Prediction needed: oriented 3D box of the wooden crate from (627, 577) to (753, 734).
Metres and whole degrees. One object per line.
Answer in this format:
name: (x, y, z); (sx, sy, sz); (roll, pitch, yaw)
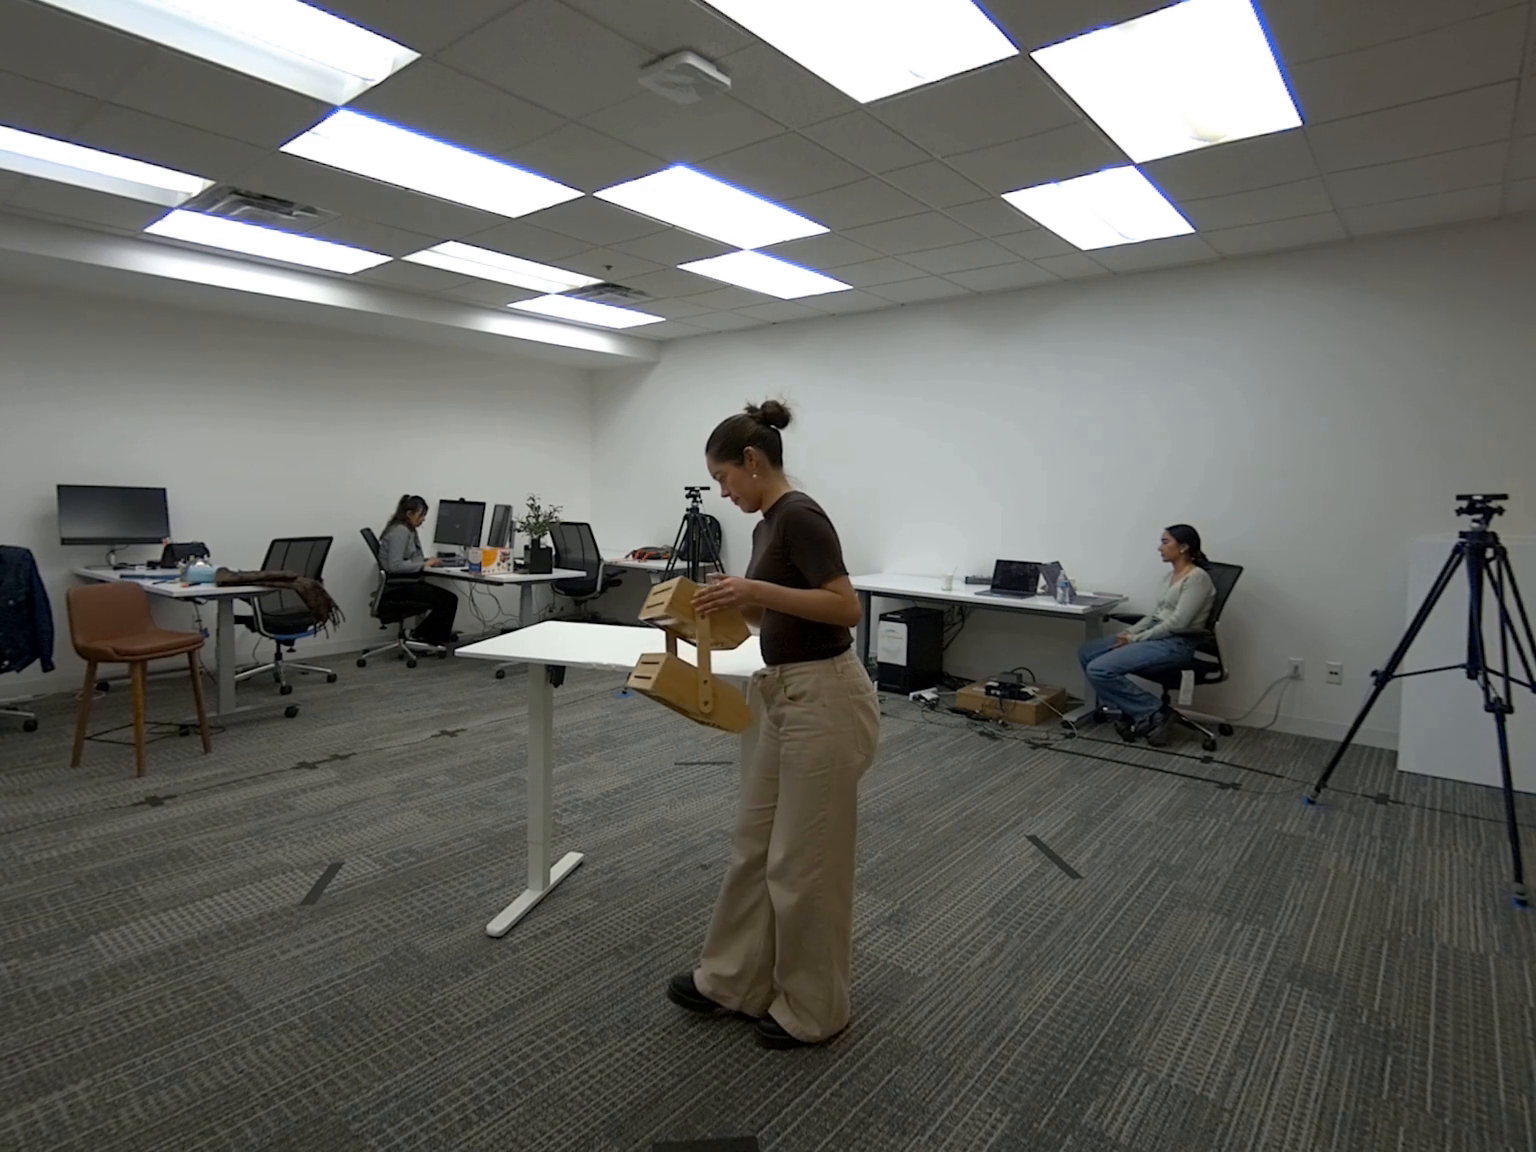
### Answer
wooden crate: (-0.175, 0.190, 2.080); (0.297, 0.275, 0.328); (28, -15, -14)
